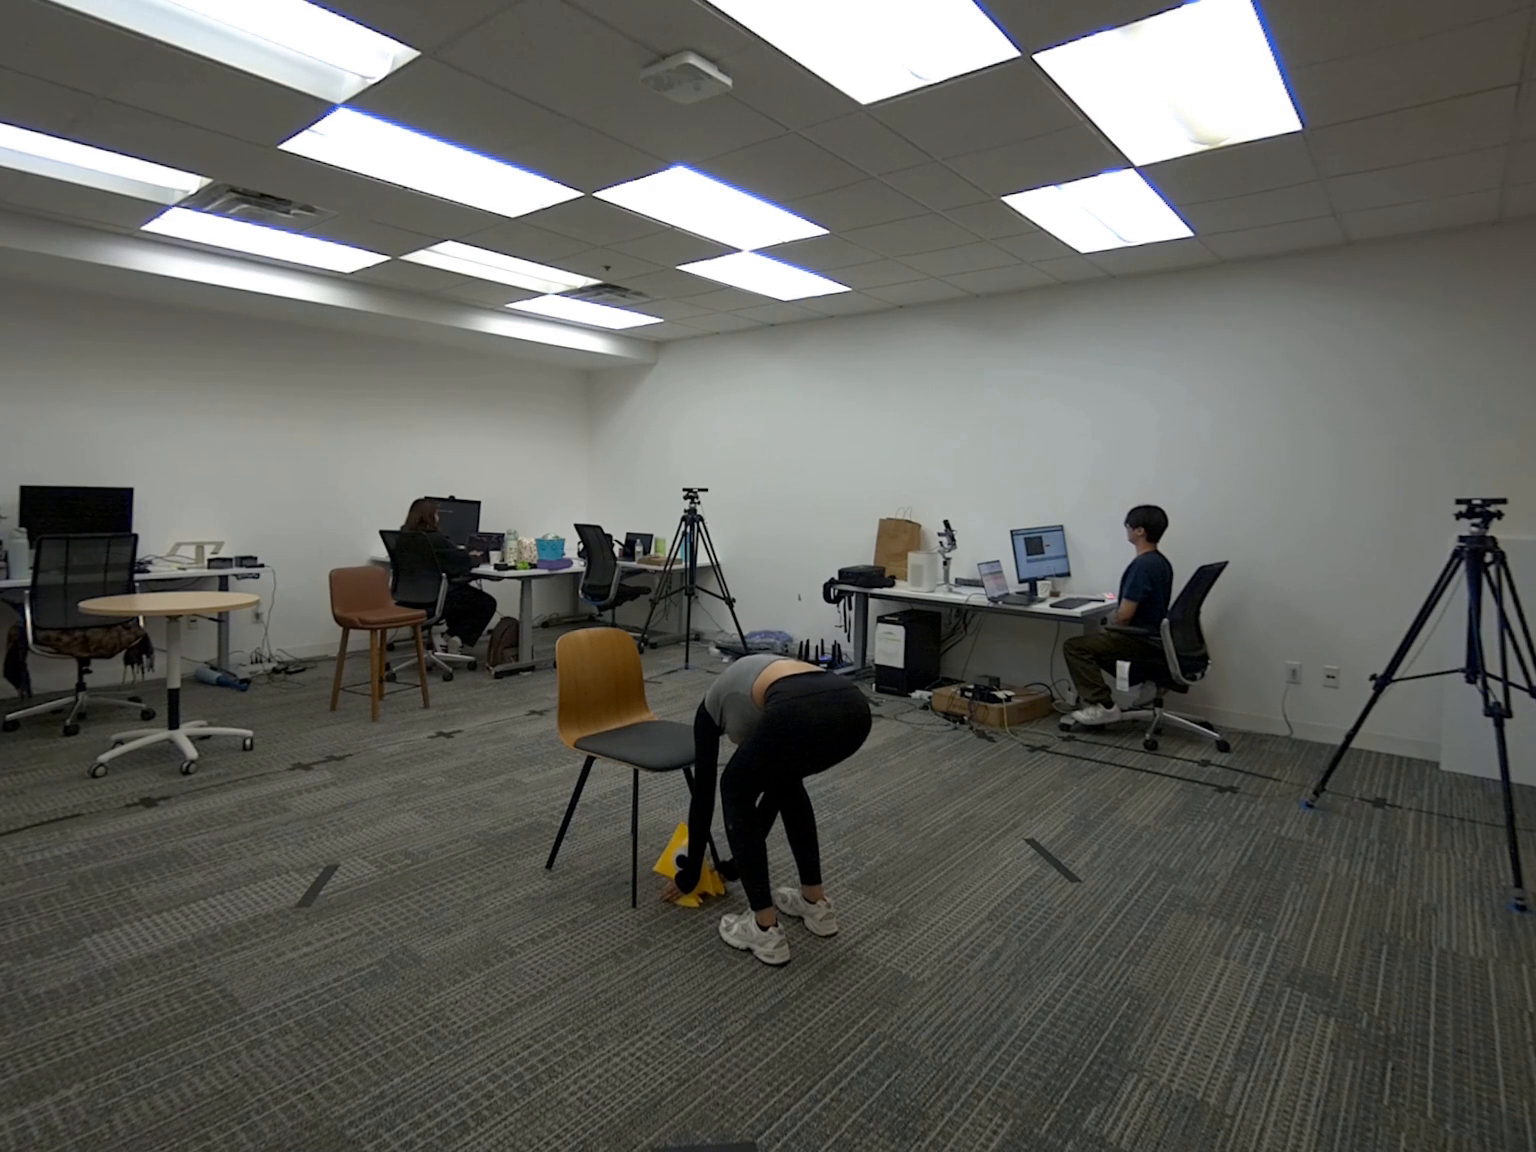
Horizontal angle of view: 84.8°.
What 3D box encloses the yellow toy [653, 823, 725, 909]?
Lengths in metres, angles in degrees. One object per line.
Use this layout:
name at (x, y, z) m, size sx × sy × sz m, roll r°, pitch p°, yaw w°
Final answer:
yellow toy at (-0.268, 0.973, 2.930) m, size 0.199 × 0.230 × 0.199 m, roll 4°, pitch 5°, yaw 42°
